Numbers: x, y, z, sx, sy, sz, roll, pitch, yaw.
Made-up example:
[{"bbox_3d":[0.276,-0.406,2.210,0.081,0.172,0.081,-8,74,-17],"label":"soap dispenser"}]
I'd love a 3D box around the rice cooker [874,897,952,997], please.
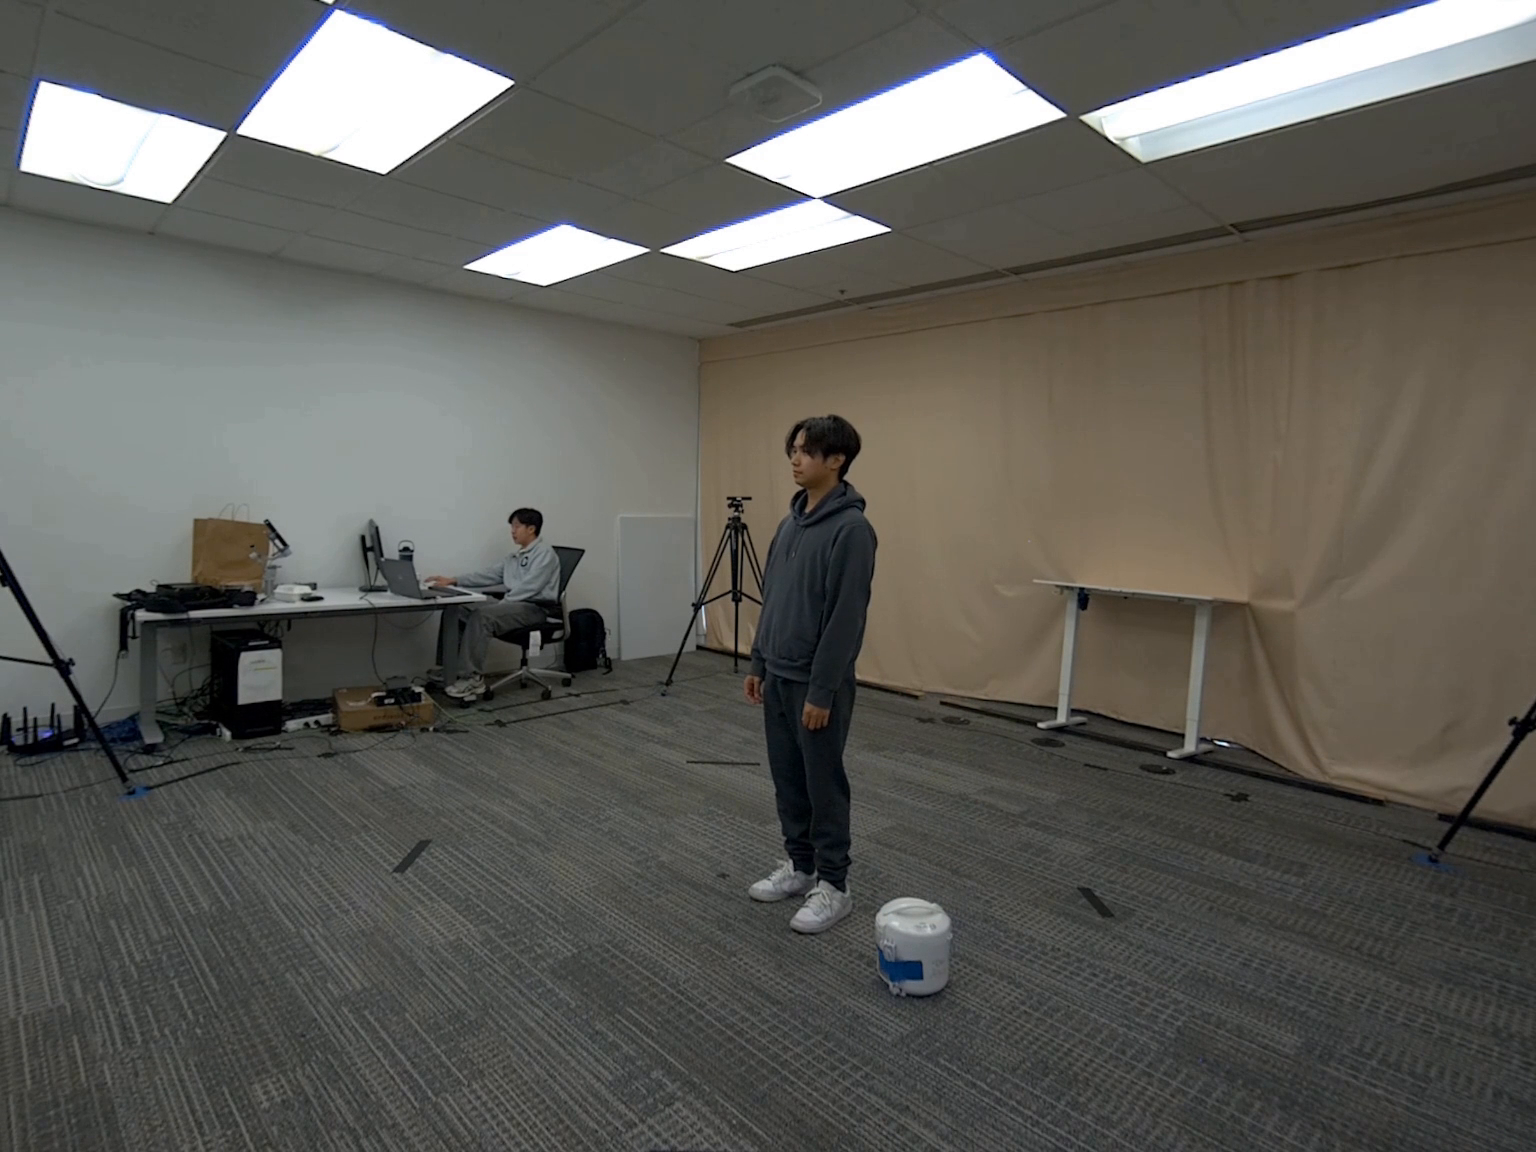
[{"bbox_3d":[0.413,1.067,2.453,0.219,0.232,0.219,1,4,-6],"label":"rice cooker"}]
